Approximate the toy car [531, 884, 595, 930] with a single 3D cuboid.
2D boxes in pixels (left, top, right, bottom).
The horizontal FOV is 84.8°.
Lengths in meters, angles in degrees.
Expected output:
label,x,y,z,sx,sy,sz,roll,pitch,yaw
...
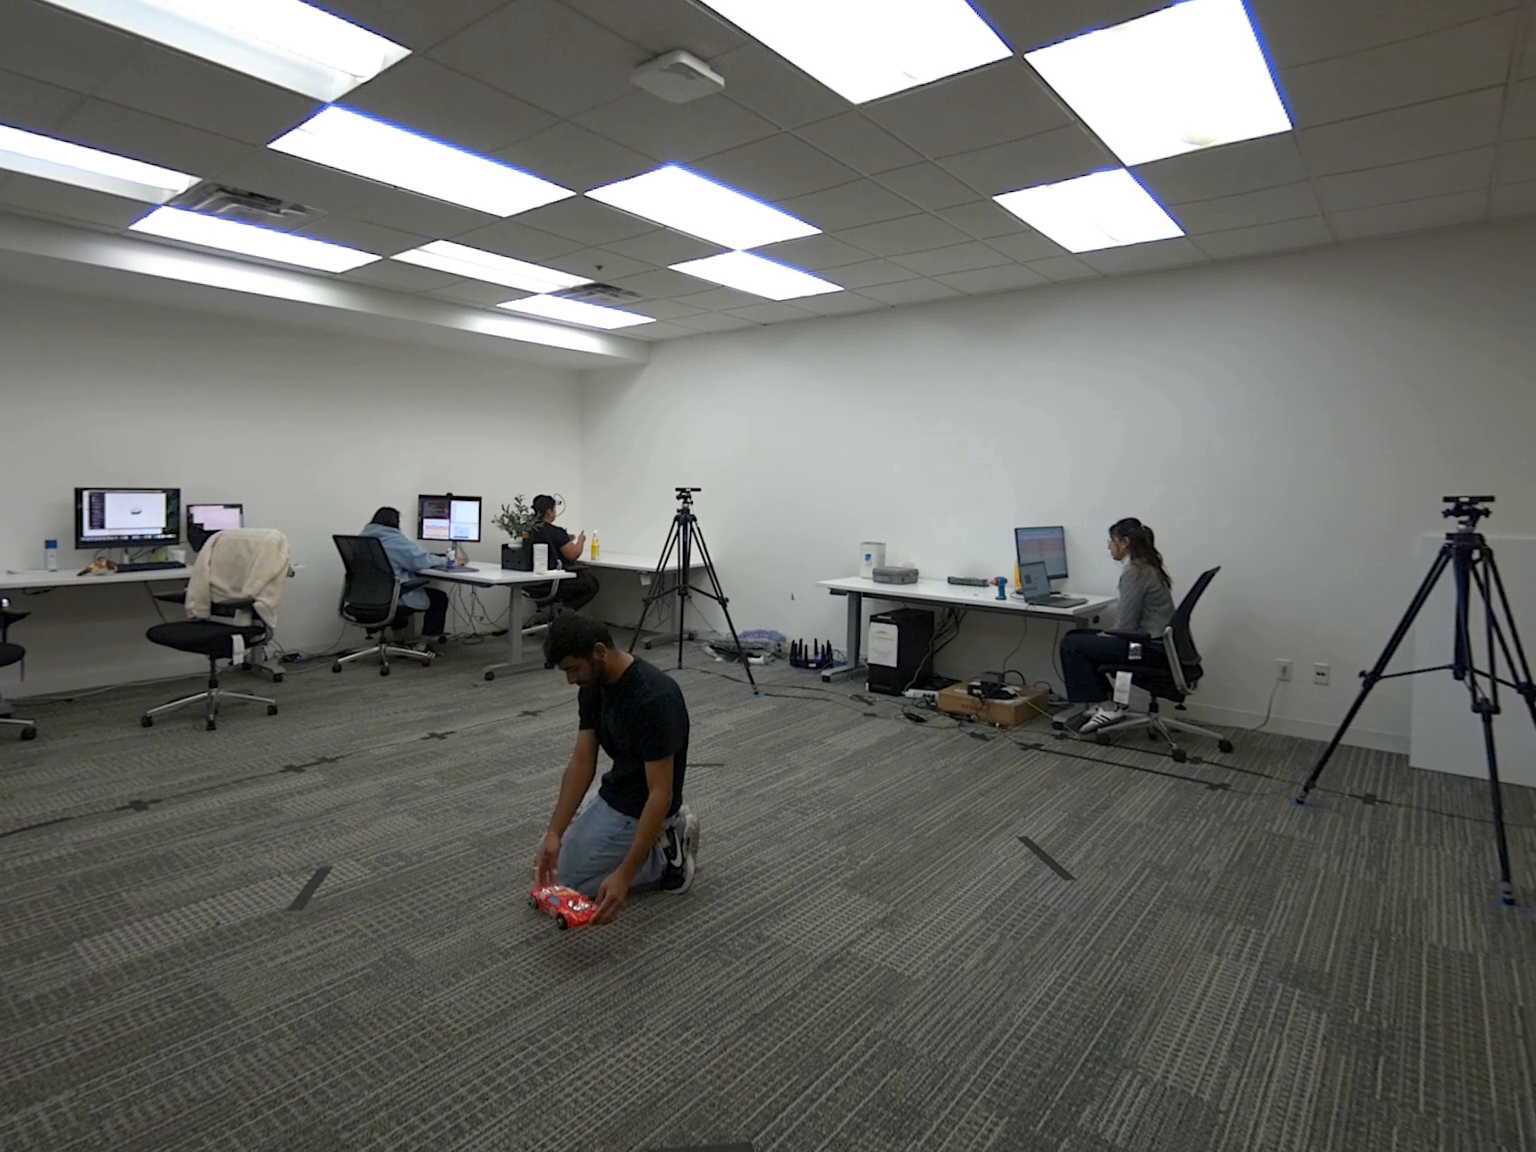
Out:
label,x,y,z,sx,sy,sz,roll,pitch,yaw
toy car,-0.610,0.978,2.528,0.262,0.083,0.126,-3,-1,44
